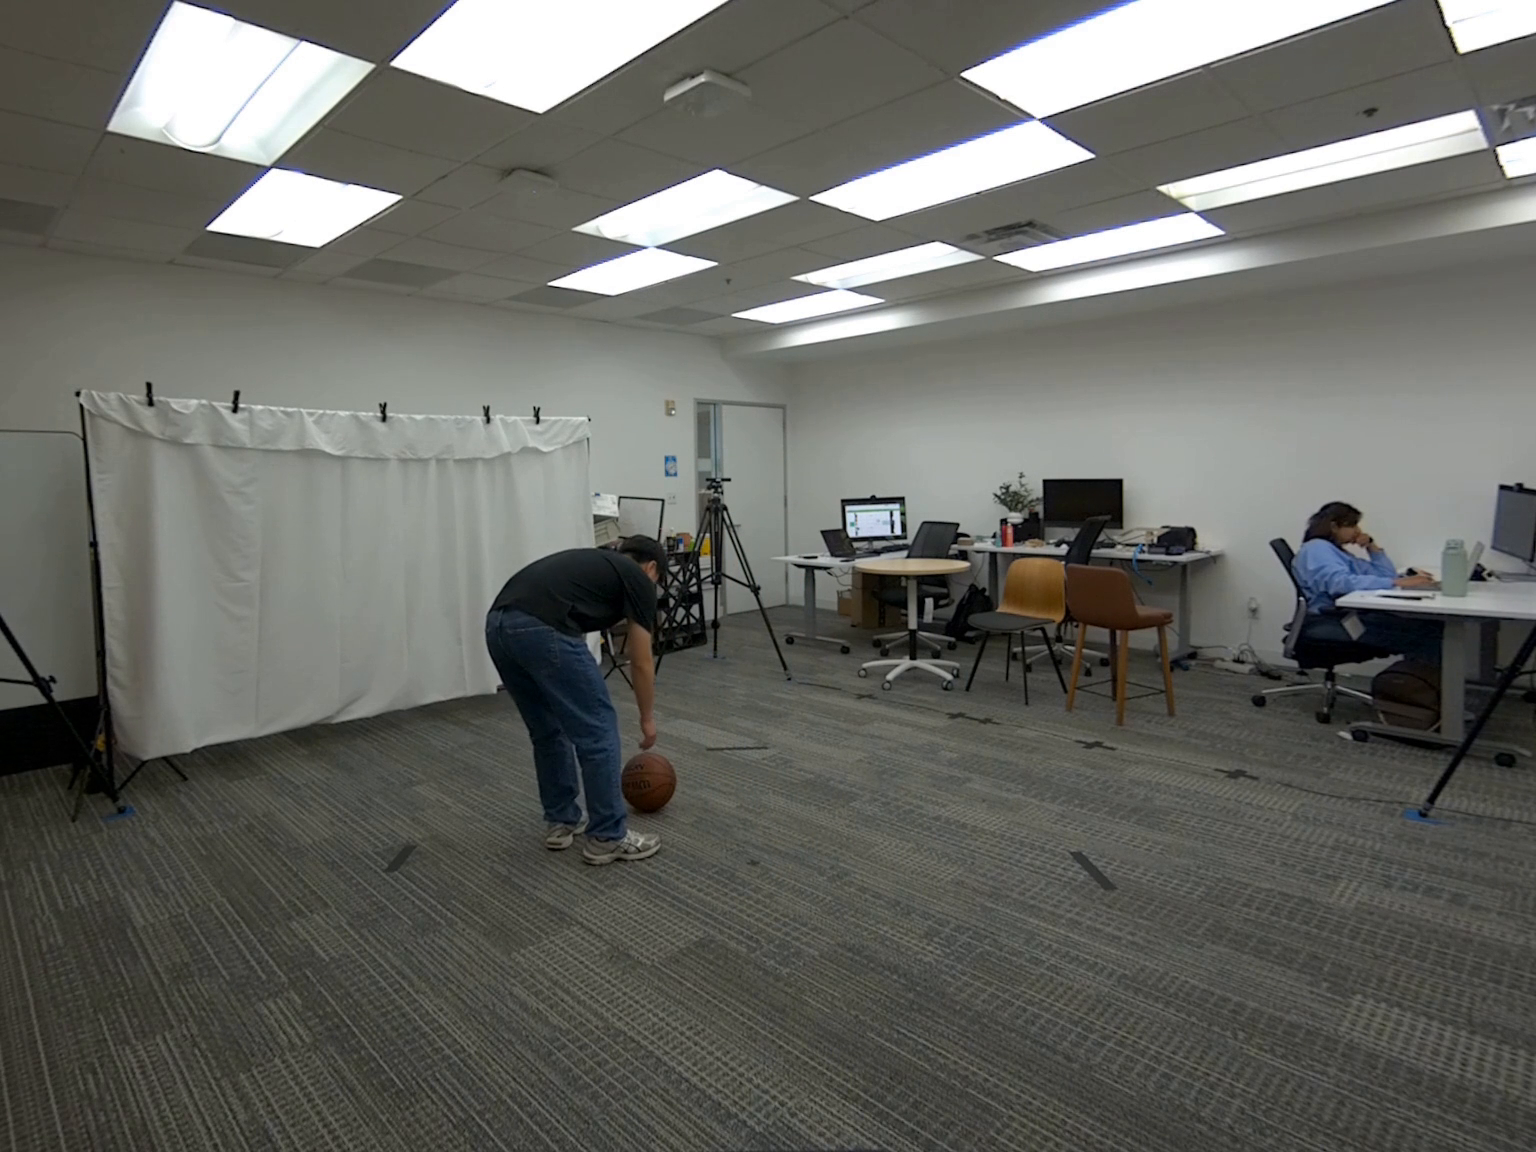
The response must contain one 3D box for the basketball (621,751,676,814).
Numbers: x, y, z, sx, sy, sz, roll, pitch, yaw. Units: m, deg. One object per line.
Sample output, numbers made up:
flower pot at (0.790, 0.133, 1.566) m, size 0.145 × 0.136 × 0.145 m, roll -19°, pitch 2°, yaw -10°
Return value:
basketball at (-0.506, 0.873, 3.629) m, size 0.236 × 0.235 × 0.237 m, roll -1°, pitch 5°, yaw -2°
